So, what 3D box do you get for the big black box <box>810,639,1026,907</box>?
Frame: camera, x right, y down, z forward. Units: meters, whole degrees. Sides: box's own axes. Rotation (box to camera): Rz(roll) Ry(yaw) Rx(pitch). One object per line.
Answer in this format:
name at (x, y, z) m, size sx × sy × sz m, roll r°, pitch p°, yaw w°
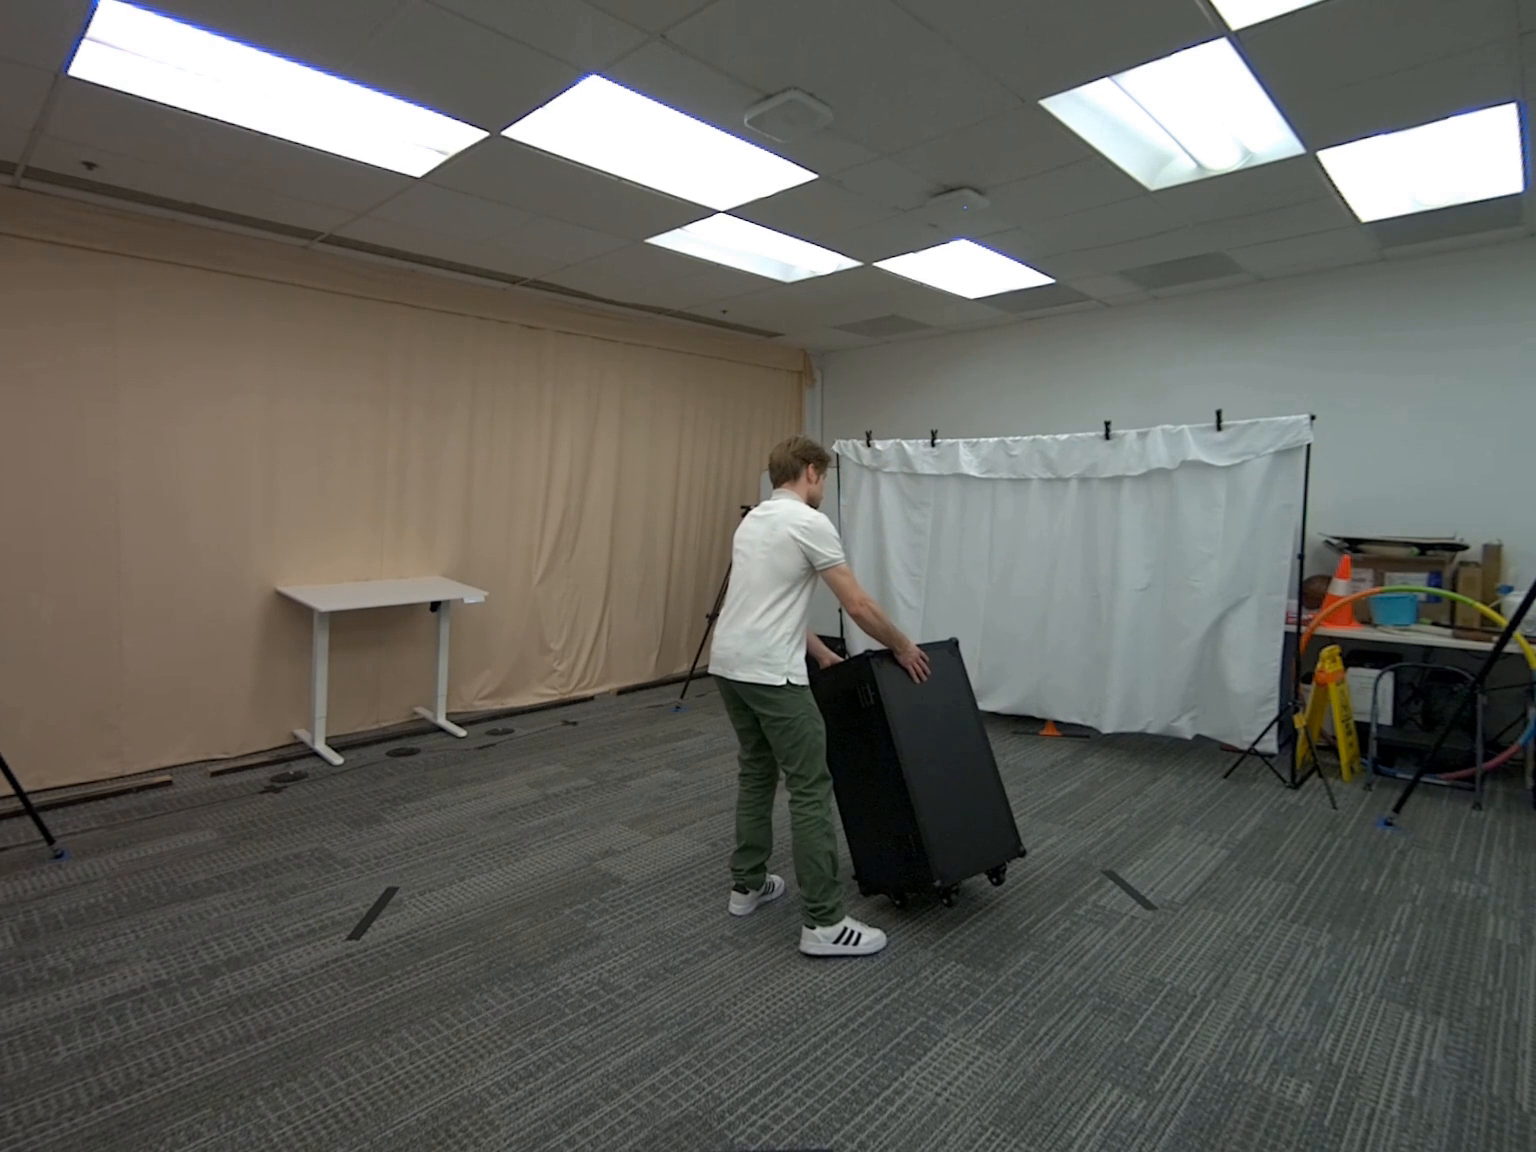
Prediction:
big black box at (0.522, 0.707, 3.014) m, size 0.507 × 0.880 × 0.392 m, roll -2°, pitch -19°, yaw -39°
